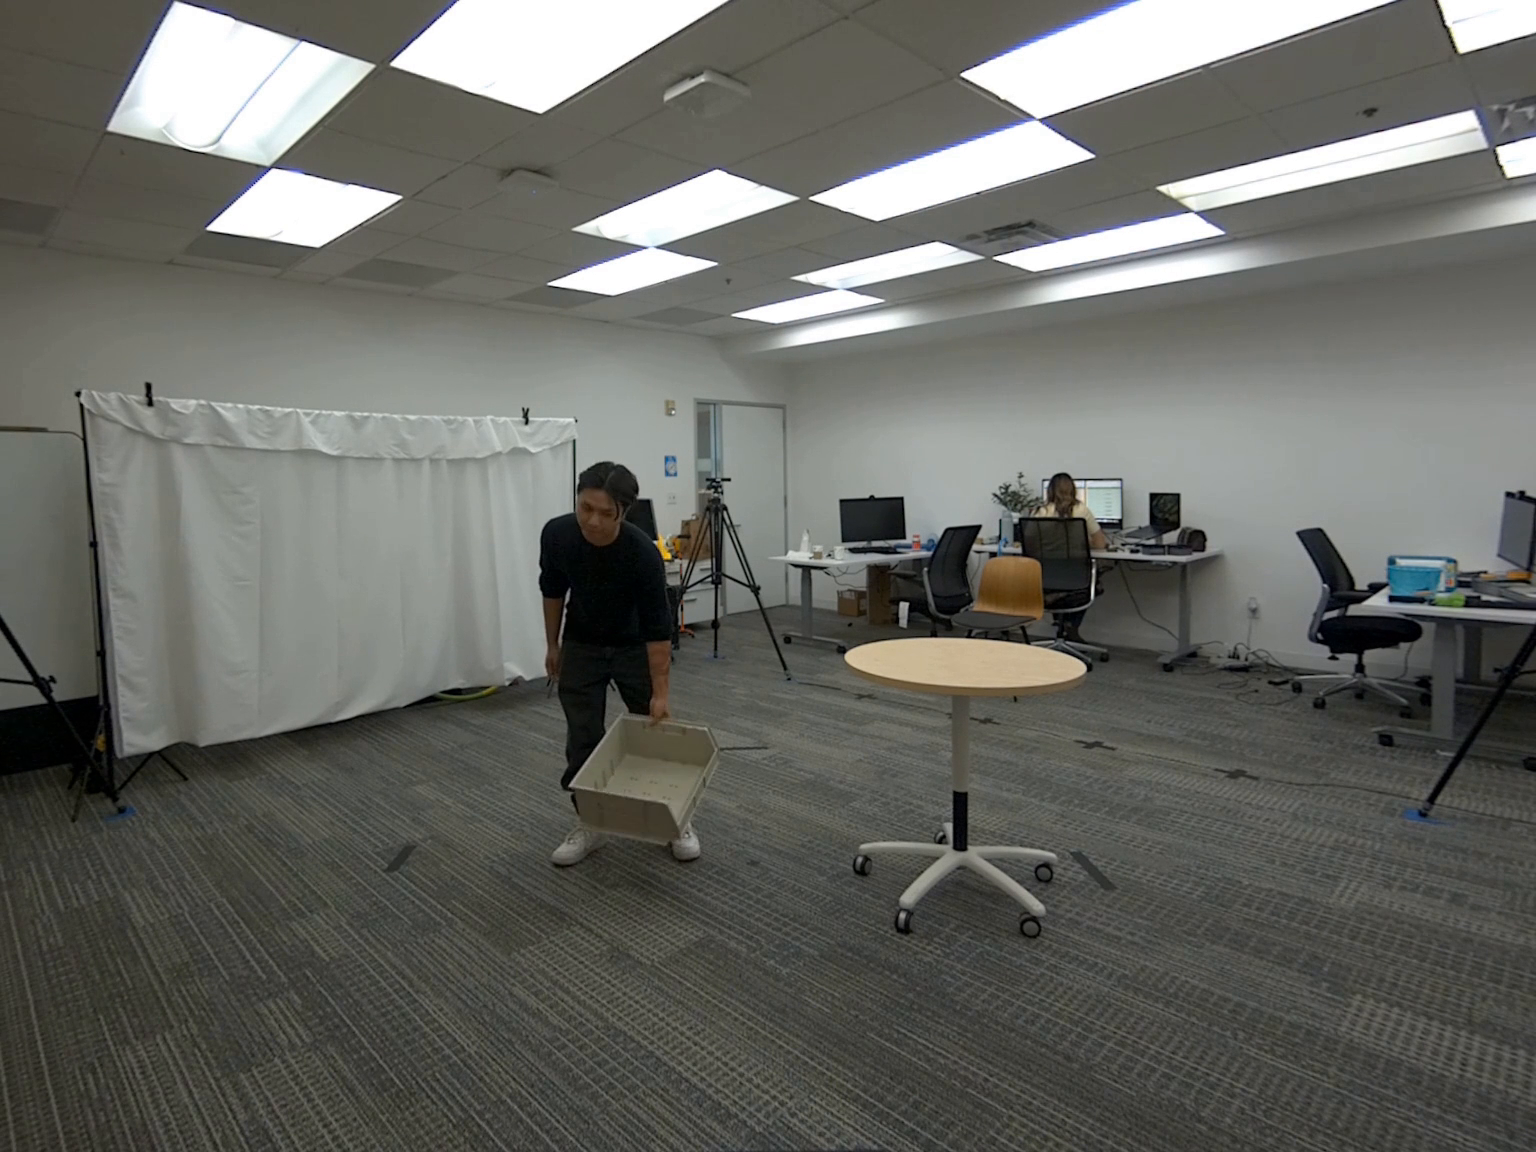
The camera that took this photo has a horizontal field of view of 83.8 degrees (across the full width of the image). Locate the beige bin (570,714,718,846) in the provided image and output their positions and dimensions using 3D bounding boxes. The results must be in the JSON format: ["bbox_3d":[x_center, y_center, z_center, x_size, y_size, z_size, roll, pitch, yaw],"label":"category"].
[{"bbox_3d":[-0.396,0.683,2.923,0.383,0.185,0.424,1,23,14],"label":"beige bin"}]
